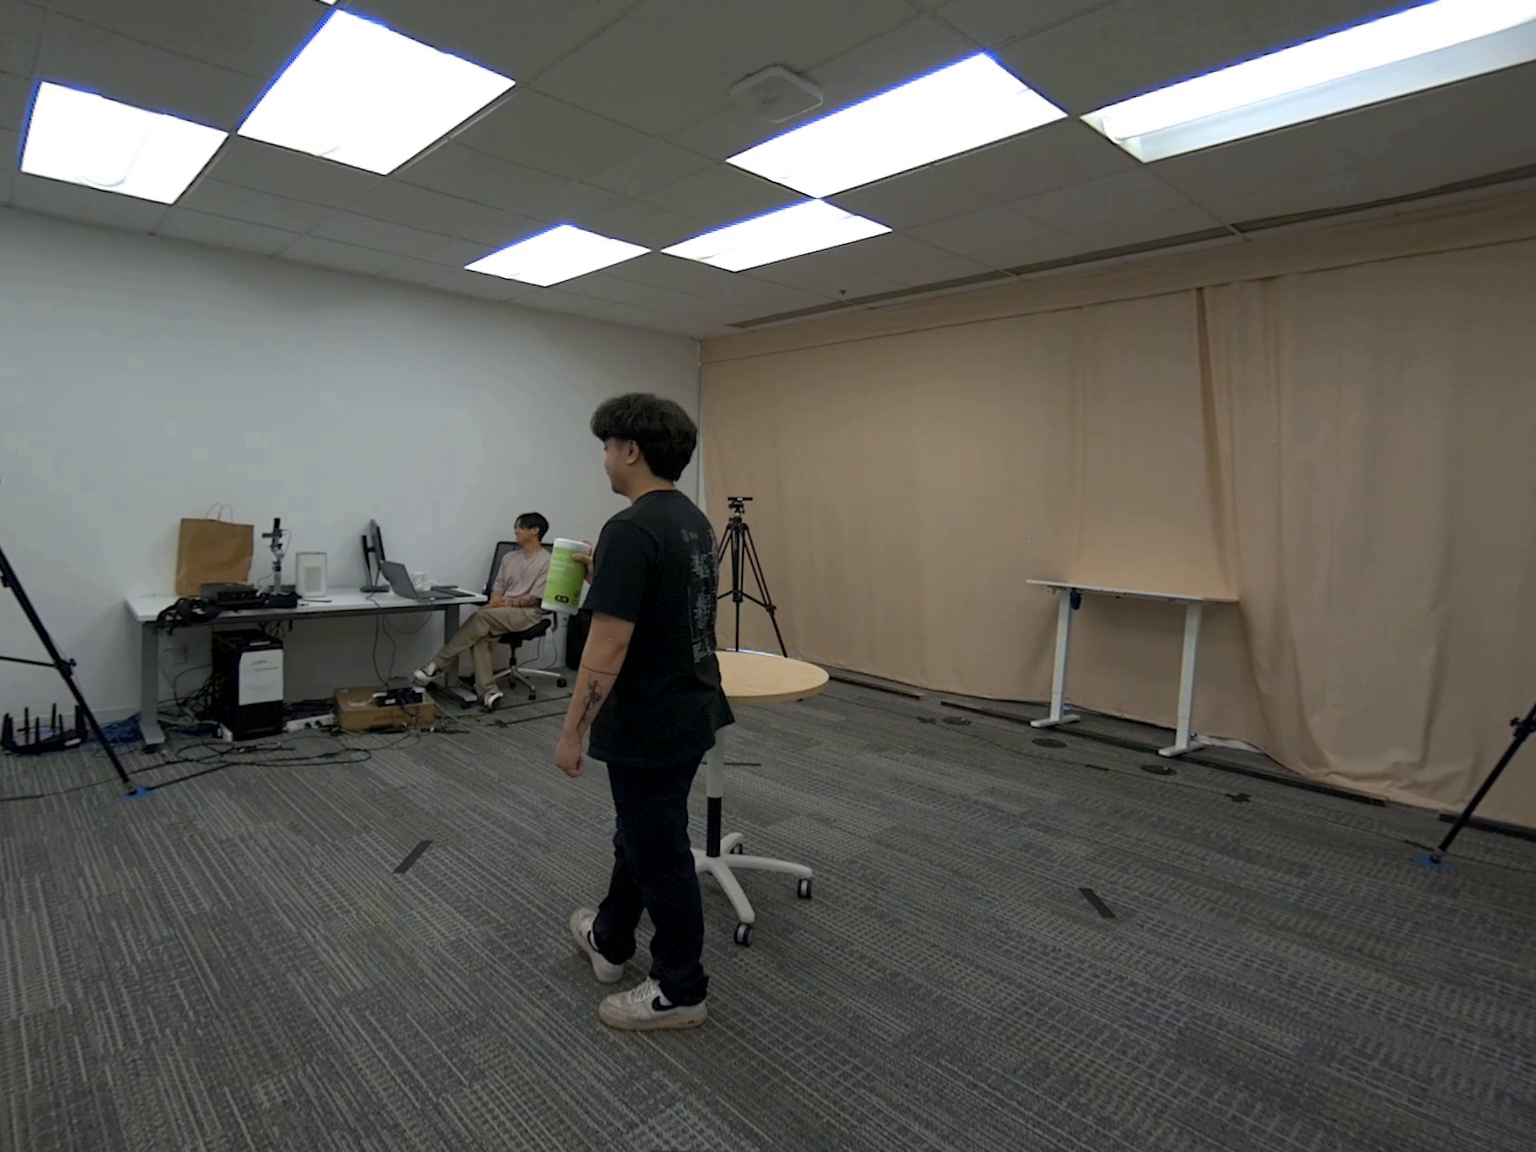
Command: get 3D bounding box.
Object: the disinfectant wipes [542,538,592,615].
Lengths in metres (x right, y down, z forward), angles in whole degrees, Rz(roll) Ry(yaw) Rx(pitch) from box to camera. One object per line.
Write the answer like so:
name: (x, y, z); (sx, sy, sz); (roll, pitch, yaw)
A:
disinfectant wipes: (-0.607, 0.004, 2.512); (0.118, 0.218, 0.117); (10, -6, 0)
